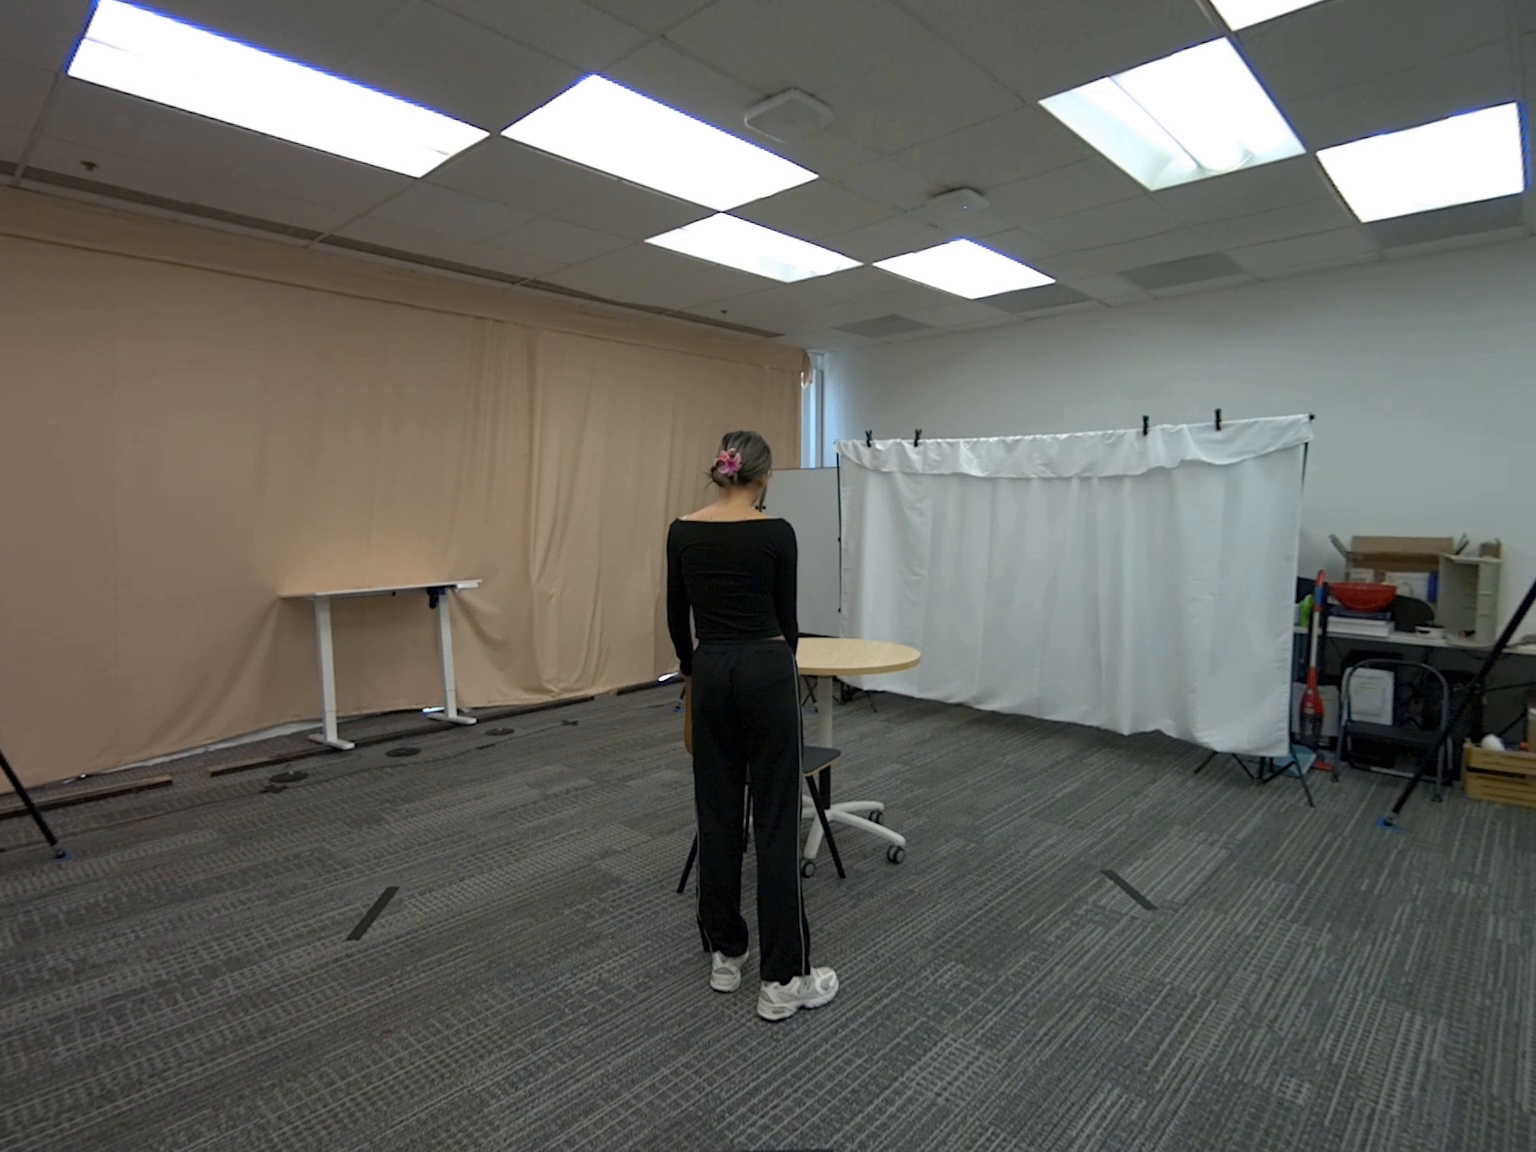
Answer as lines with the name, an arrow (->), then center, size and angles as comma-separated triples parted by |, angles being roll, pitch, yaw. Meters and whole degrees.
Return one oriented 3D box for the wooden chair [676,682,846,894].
wooden chair -> -0.018, 0.708, 3.062 | 0.493, 0.873, 0.510 | 2, 8, 33
